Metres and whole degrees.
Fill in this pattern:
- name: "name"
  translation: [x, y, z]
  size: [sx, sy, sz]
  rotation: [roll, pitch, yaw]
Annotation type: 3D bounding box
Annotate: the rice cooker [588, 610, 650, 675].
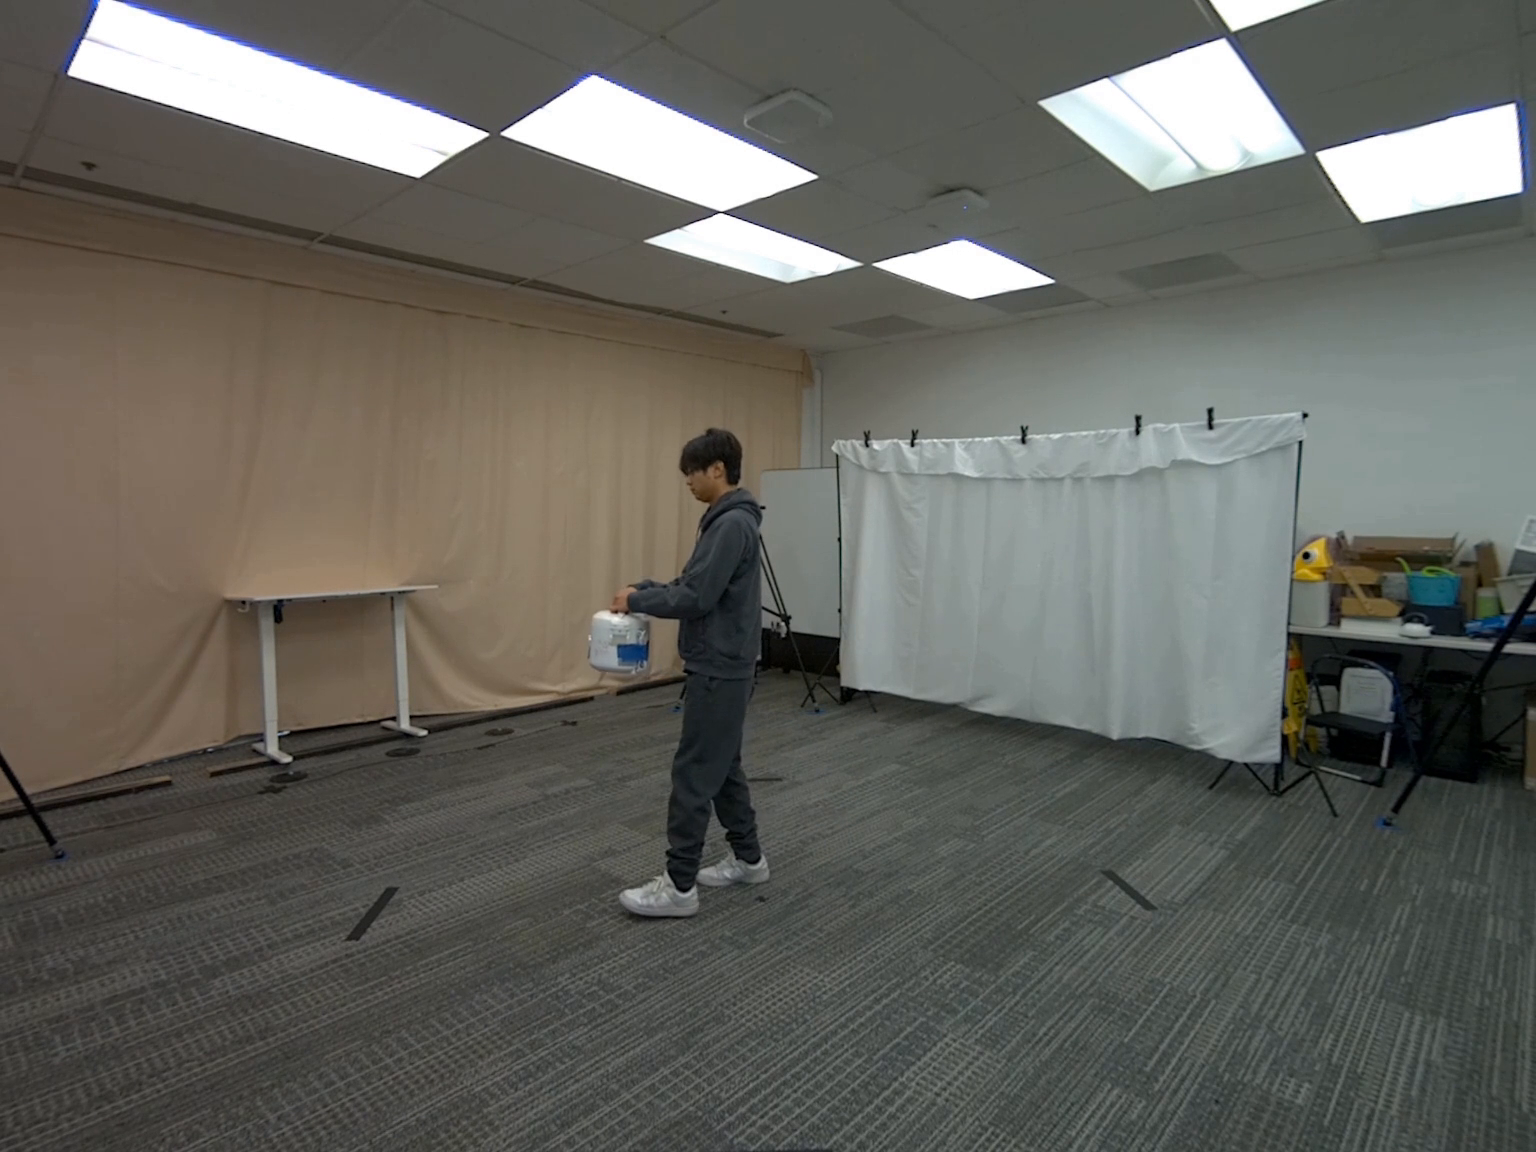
- name: "rice cooker"
  translation: [-0.529, 0.224, 3.016]
  size: [0.216, 0.233, 0.222]
  rotation: [4, 1, -5]
